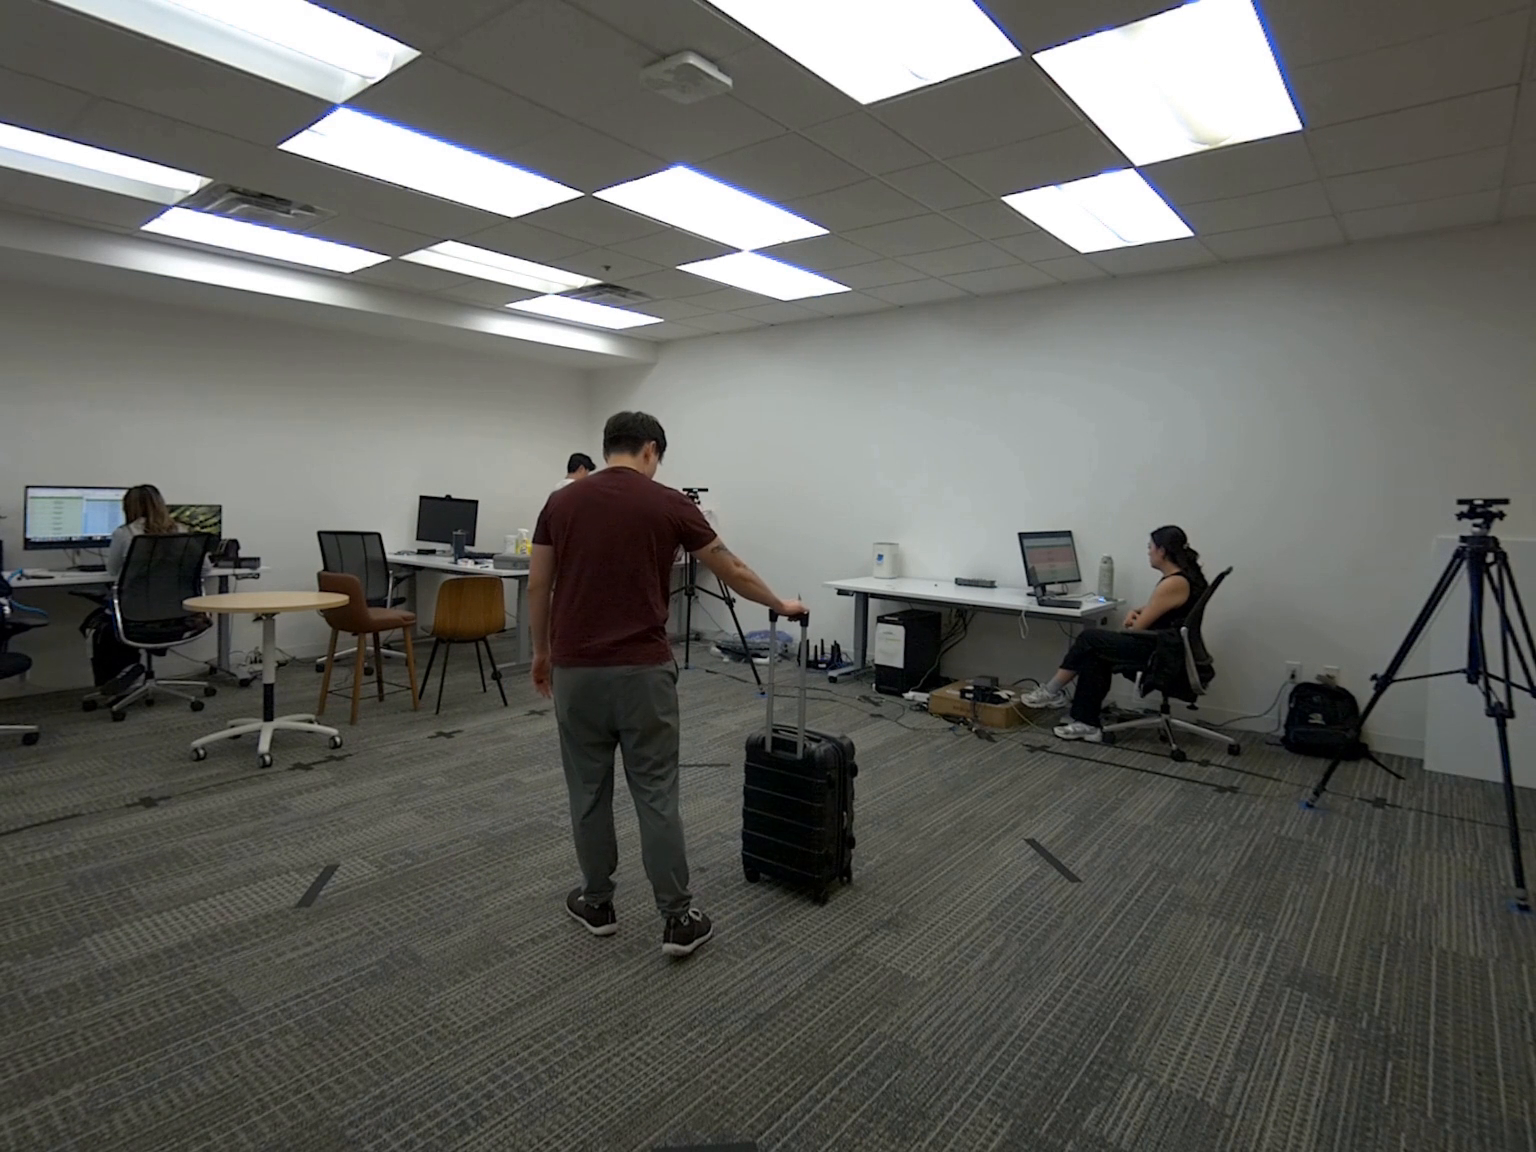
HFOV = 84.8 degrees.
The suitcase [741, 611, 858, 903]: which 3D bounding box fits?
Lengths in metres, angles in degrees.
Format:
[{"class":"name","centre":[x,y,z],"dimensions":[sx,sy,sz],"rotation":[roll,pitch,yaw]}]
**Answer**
[{"class":"suitcase","centre":[0.108,0.608,3.015],"dimensions":[0.396,0.977,0.249],"rotation":[4,2,33]}]
